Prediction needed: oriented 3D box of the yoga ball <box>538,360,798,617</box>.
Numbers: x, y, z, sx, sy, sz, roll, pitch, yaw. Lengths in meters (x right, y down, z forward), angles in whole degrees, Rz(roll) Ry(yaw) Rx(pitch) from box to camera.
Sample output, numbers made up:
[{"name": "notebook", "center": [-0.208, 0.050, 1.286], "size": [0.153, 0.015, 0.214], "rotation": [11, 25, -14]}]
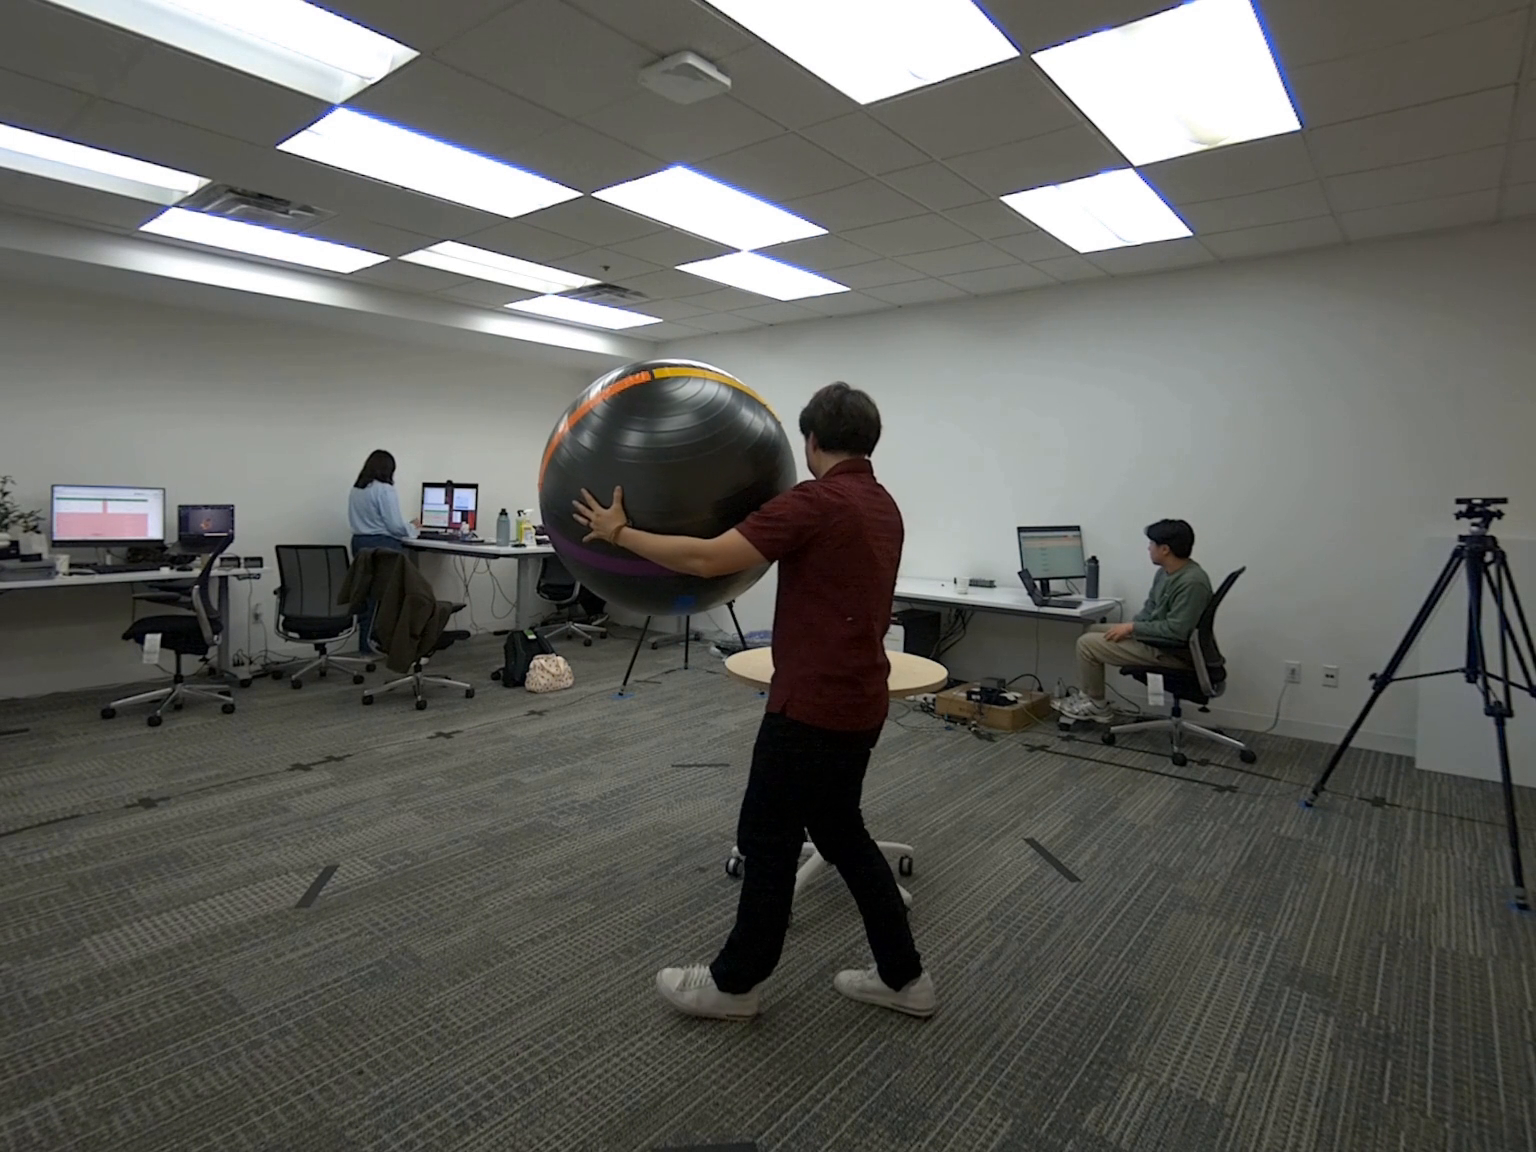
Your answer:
[{"name": "yoga ball", "center": [-0.301, -0.252, 2.512], "size": [0.757, 0.756, 0.761], "rotation": [1, 4, -2]}]
